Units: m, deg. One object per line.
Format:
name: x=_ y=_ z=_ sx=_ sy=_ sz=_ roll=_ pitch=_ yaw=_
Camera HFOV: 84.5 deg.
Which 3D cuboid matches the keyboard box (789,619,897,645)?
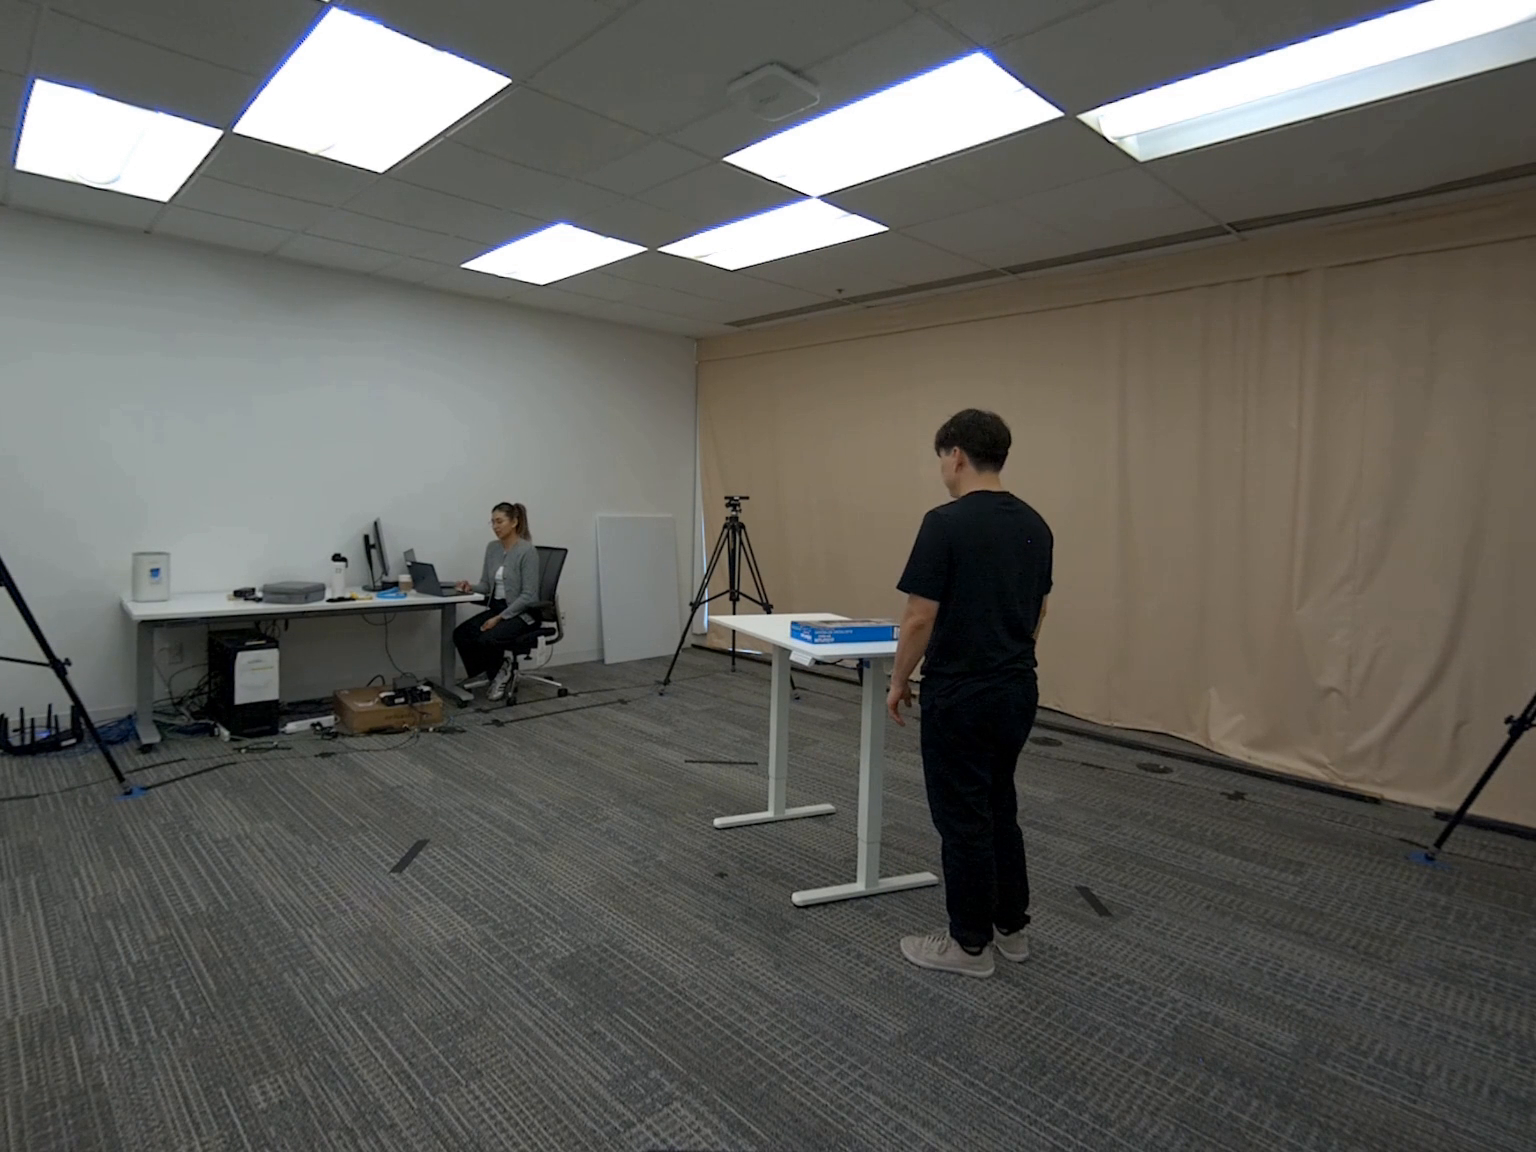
keyboard box: x=0.315 y=0.203 z=3.099 sx=0.429 sy=0.059 sz=0.179 roll=0 pitch=5 yaw=-24
